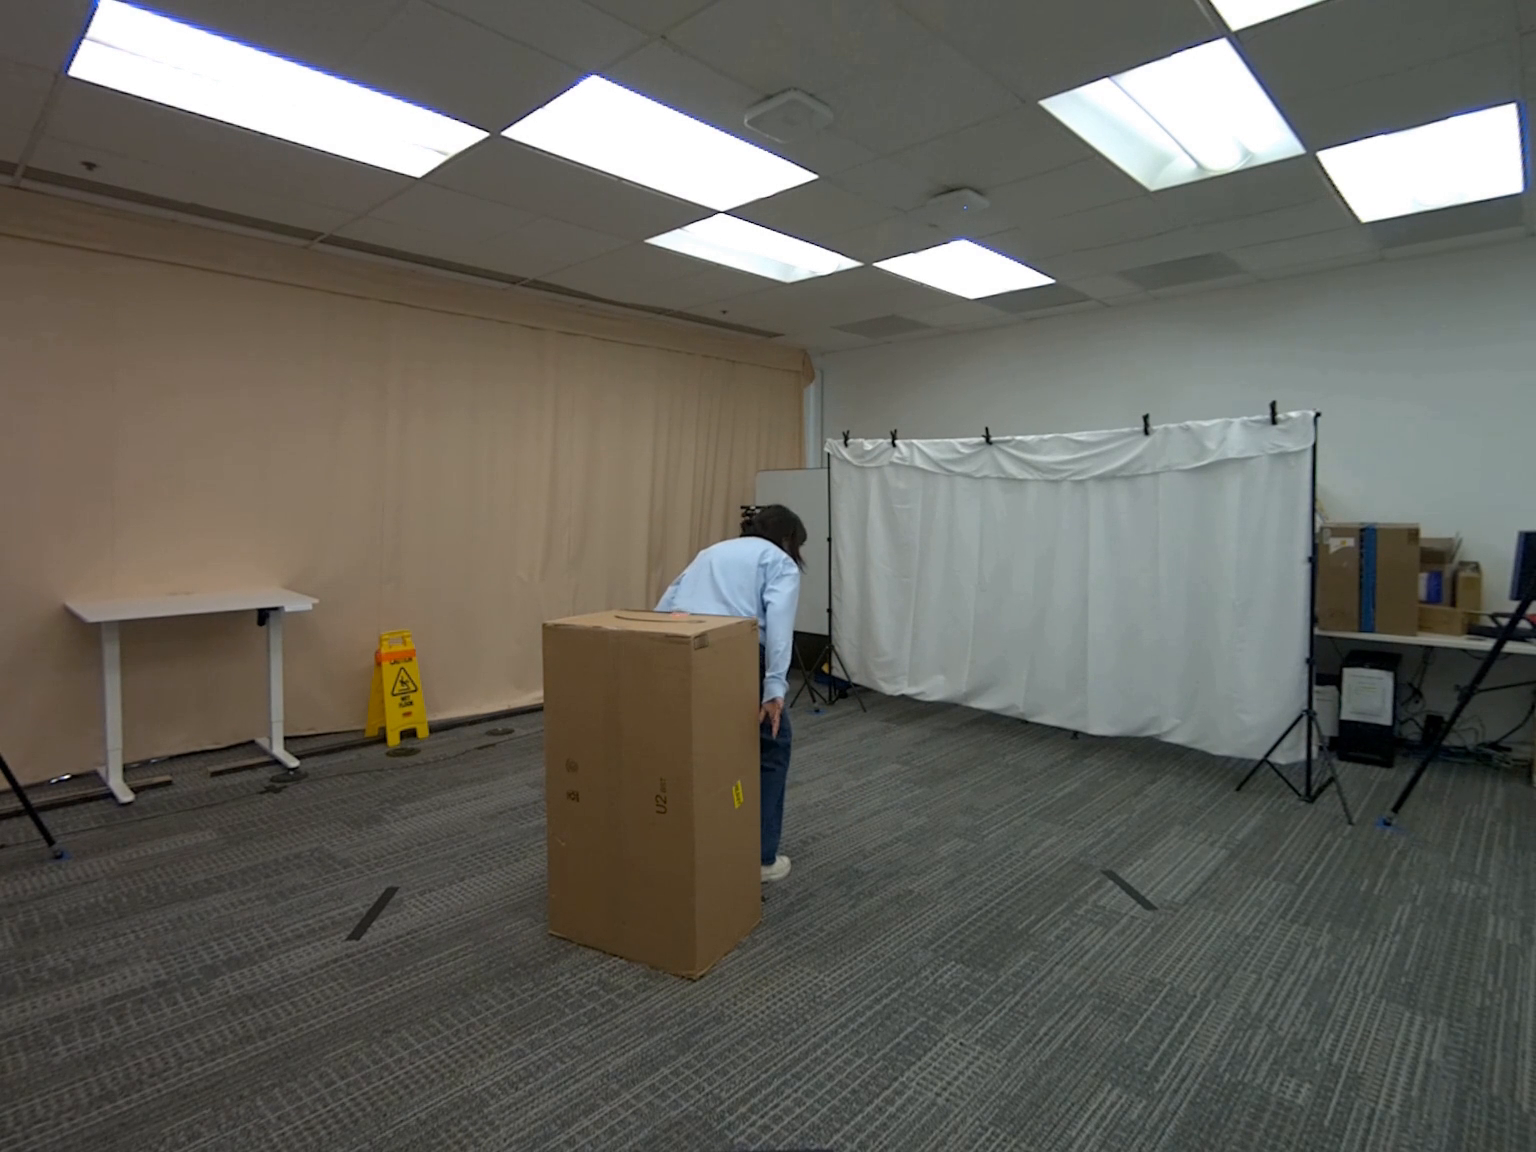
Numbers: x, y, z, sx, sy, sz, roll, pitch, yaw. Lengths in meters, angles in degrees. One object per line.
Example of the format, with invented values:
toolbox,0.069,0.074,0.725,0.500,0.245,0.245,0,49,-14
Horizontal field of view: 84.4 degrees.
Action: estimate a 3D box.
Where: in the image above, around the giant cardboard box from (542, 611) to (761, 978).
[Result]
giant cardboard box,-0.377,0.654,2.768,0.594,1.024,0.415,1,3,30
